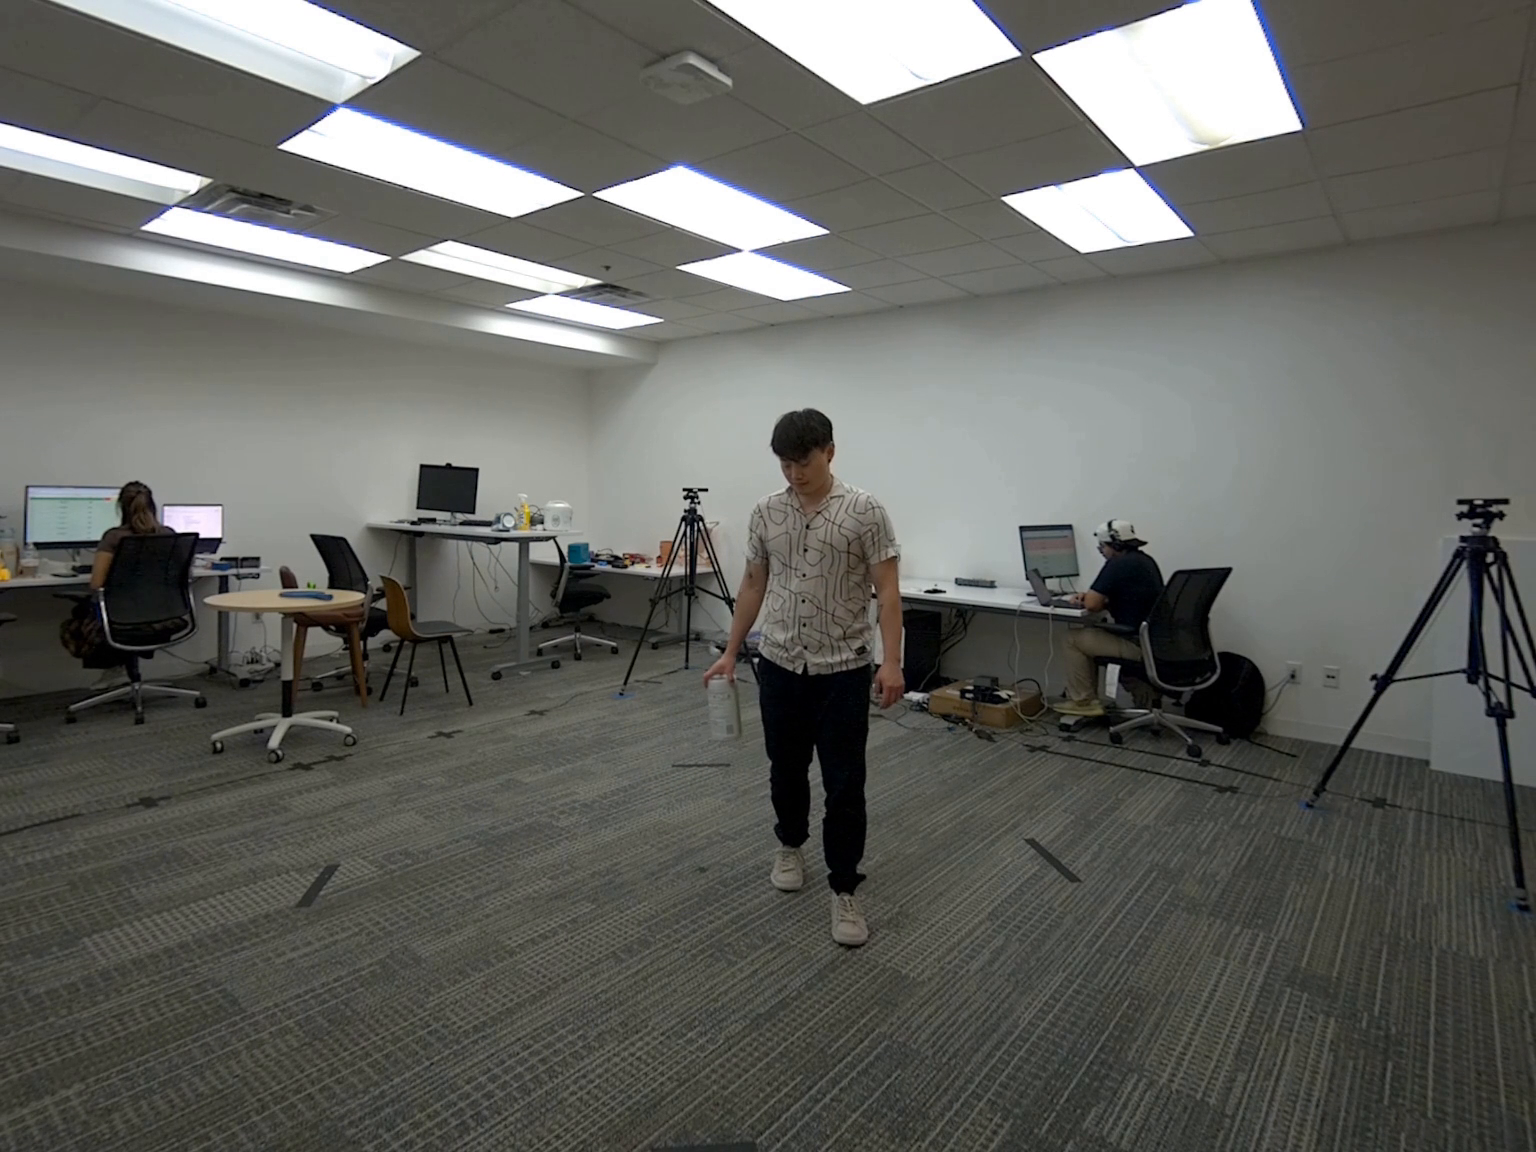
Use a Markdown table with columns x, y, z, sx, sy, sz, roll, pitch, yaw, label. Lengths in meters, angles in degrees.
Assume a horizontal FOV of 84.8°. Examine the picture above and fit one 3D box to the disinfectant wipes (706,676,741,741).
| x | y | z | sx | sy | sz | roll | pitch | yaw | label |
| --- | --- | --- | --- | --- | --- | --- | --- | --- | --- |
| -0.160 | 0.462 | 2.985 | 0.118 | 0.217 | 0.118 | -4 | 2 | -2 | disinfectant wipes |
